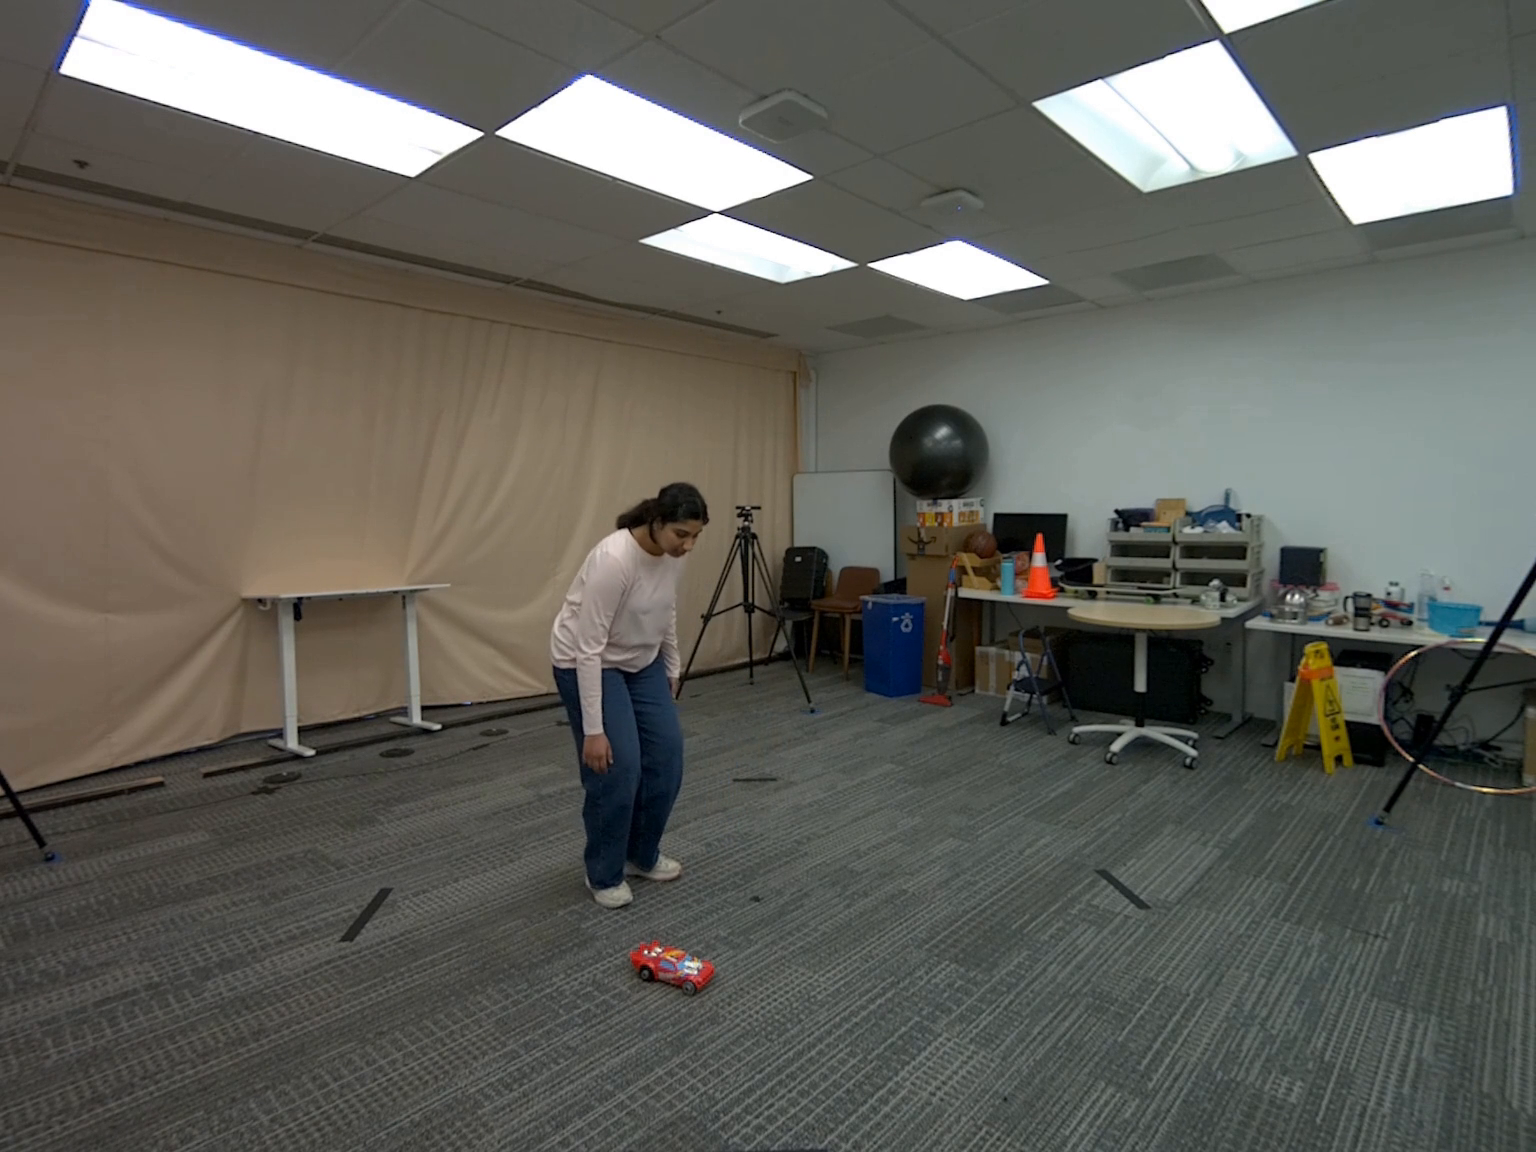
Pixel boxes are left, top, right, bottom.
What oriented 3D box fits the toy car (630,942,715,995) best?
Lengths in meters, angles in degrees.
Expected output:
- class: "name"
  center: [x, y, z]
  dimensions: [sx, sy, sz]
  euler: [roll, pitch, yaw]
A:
- class: "toy car"
  center: [-0.288, 1.157, 2.482]
  dimensions: [0.262, 0.083, 0.127]
  euler: [14, 11, 26]
